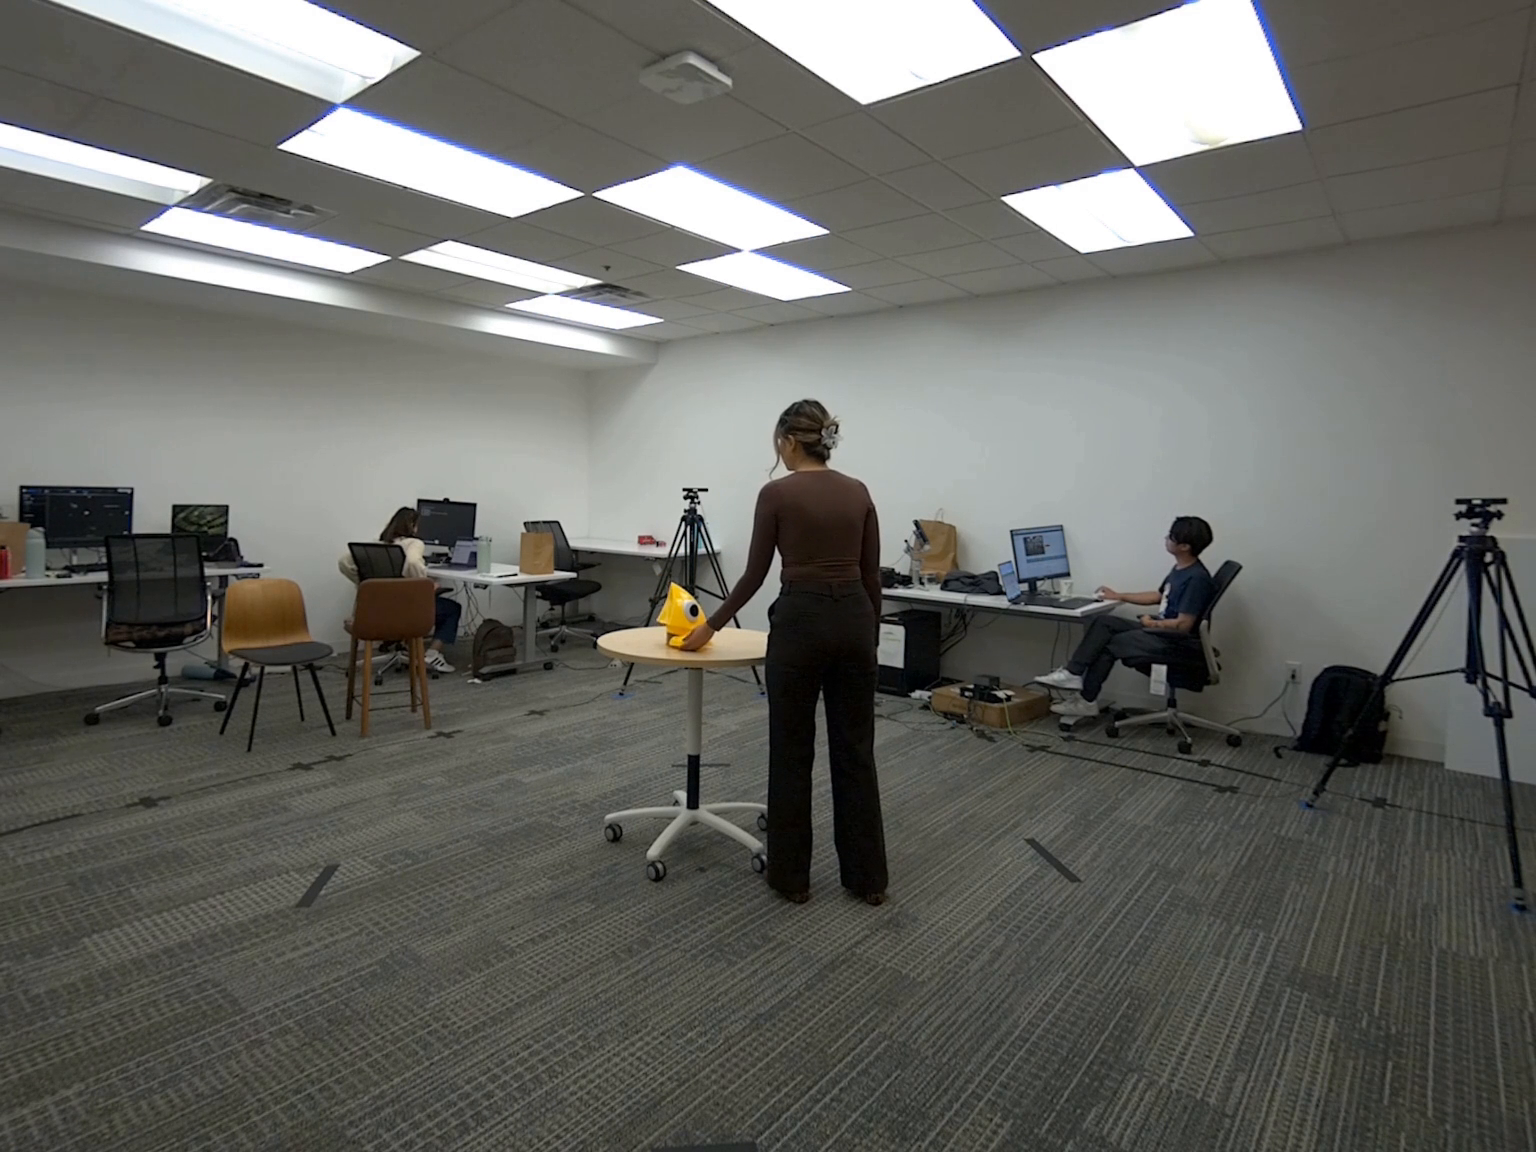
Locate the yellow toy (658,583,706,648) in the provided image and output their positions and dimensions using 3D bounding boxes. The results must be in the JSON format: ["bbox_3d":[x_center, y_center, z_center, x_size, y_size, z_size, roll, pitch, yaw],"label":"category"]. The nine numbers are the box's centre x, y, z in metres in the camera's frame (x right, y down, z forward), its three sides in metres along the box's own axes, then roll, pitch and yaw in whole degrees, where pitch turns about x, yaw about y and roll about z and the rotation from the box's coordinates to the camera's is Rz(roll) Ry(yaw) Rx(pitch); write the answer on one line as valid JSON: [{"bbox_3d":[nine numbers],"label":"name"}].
[{"bbox_3d":[-0.322,0.138,3.211,0.189,0.231,0.209,-1,0,-20],"label":"yellow toy"}]
